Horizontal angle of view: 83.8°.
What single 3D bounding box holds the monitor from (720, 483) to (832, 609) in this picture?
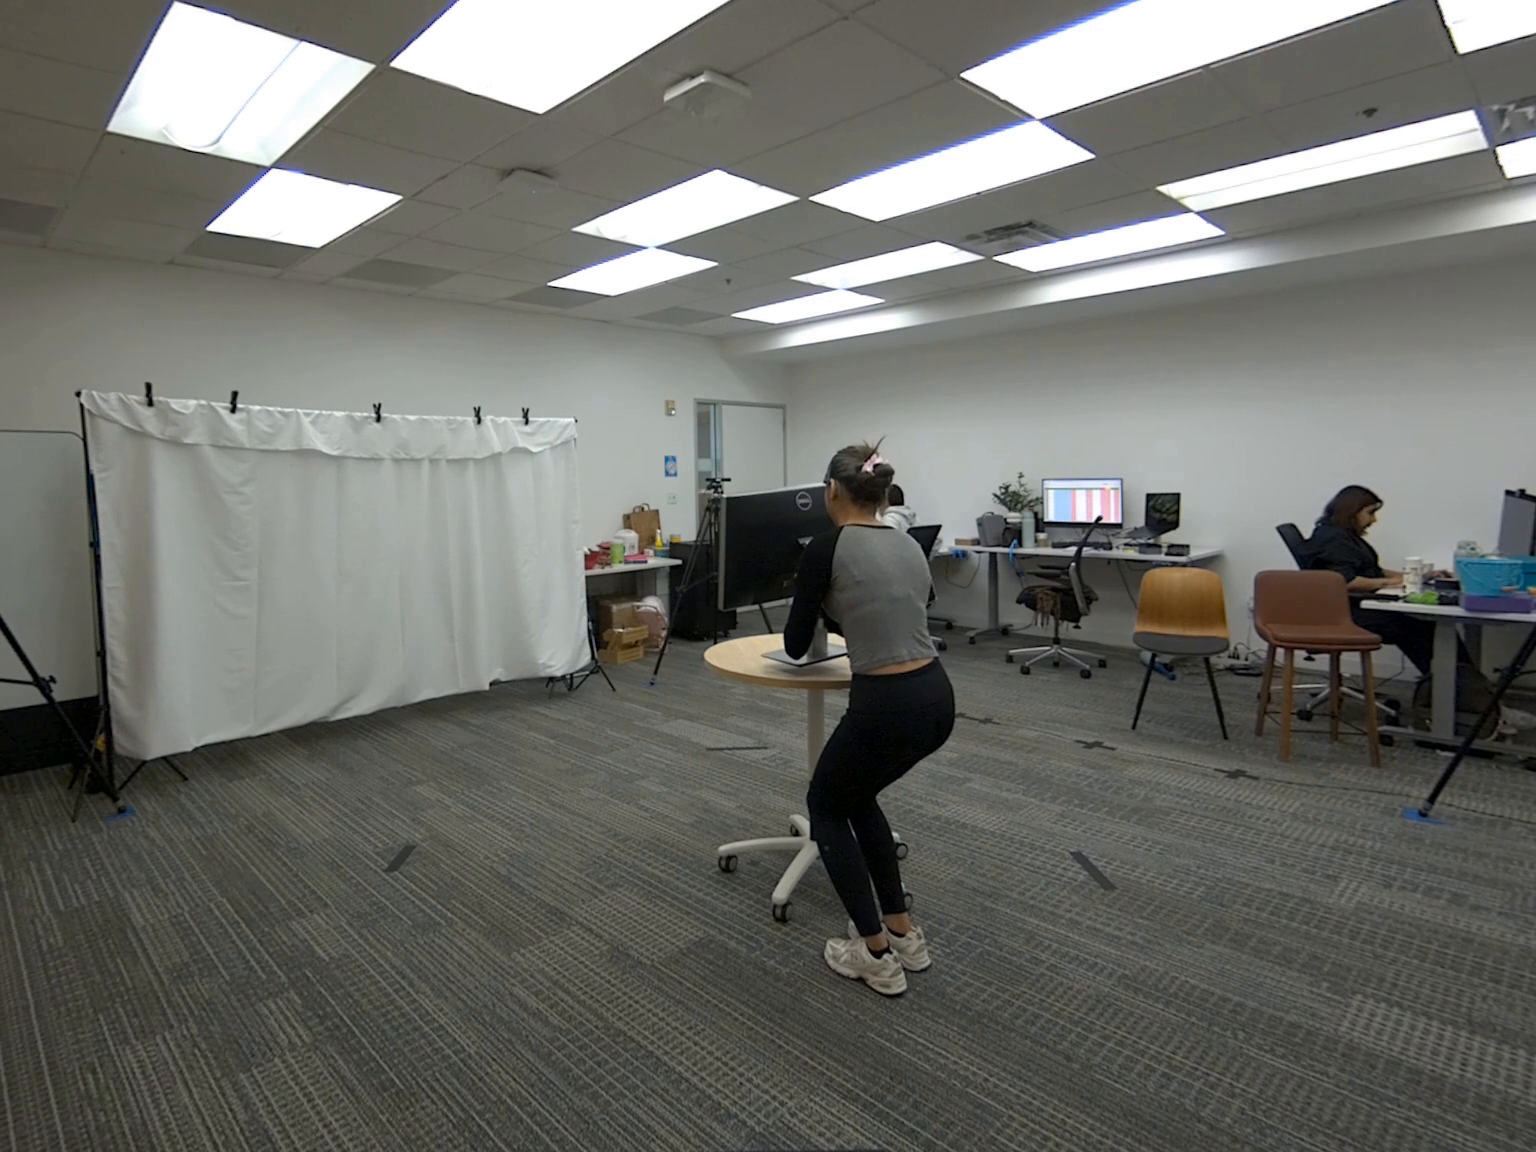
[{"bbox_3d":[0.116,-0.012,2.697,0.527,0.520,0.192,-9,6,-33],"label":"monitor"}]
